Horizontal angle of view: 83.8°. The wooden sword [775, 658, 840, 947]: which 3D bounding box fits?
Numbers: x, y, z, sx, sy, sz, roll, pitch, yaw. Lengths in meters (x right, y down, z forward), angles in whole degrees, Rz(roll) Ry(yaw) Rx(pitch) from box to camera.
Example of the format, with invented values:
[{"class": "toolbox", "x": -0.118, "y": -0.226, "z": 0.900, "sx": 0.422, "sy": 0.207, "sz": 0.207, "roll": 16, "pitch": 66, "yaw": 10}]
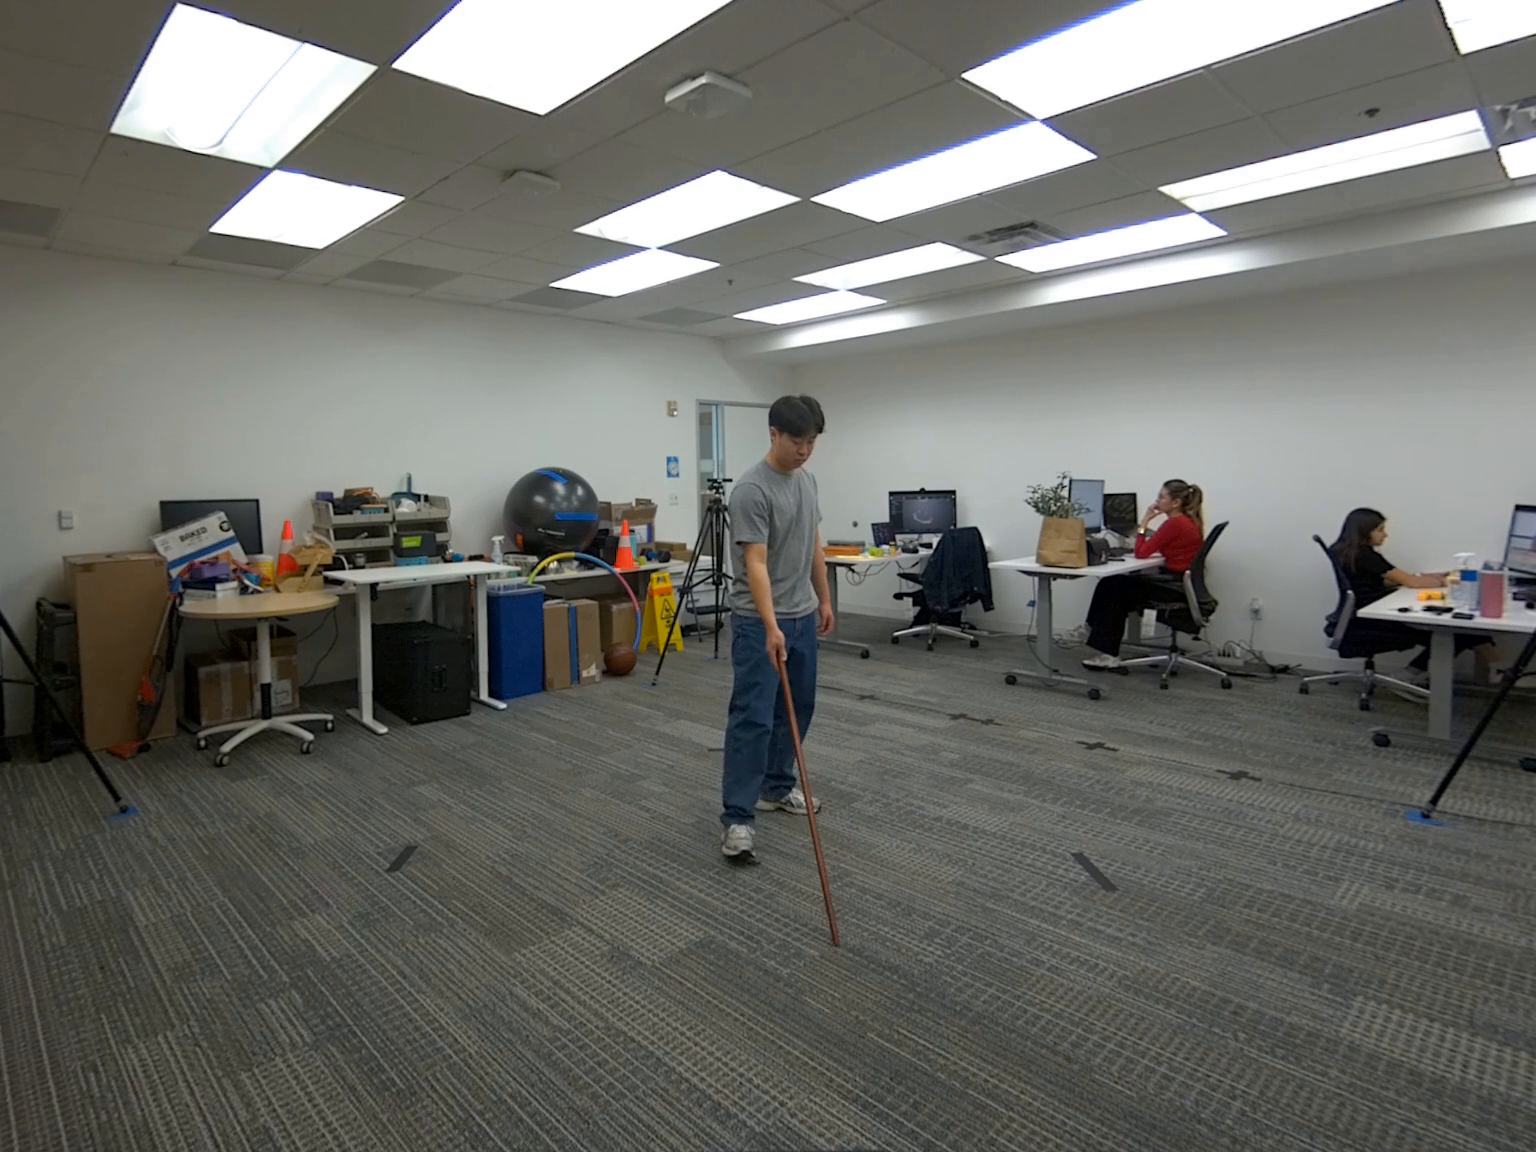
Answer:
[{"class": "wooden sword", "x": 0.141, "y": 0.684, "z": 2.847, "sx": 0.052, "sy": 1.055, "sz": 0.023, "roll": -33, "pitch": -39, "yaw": 29}]
